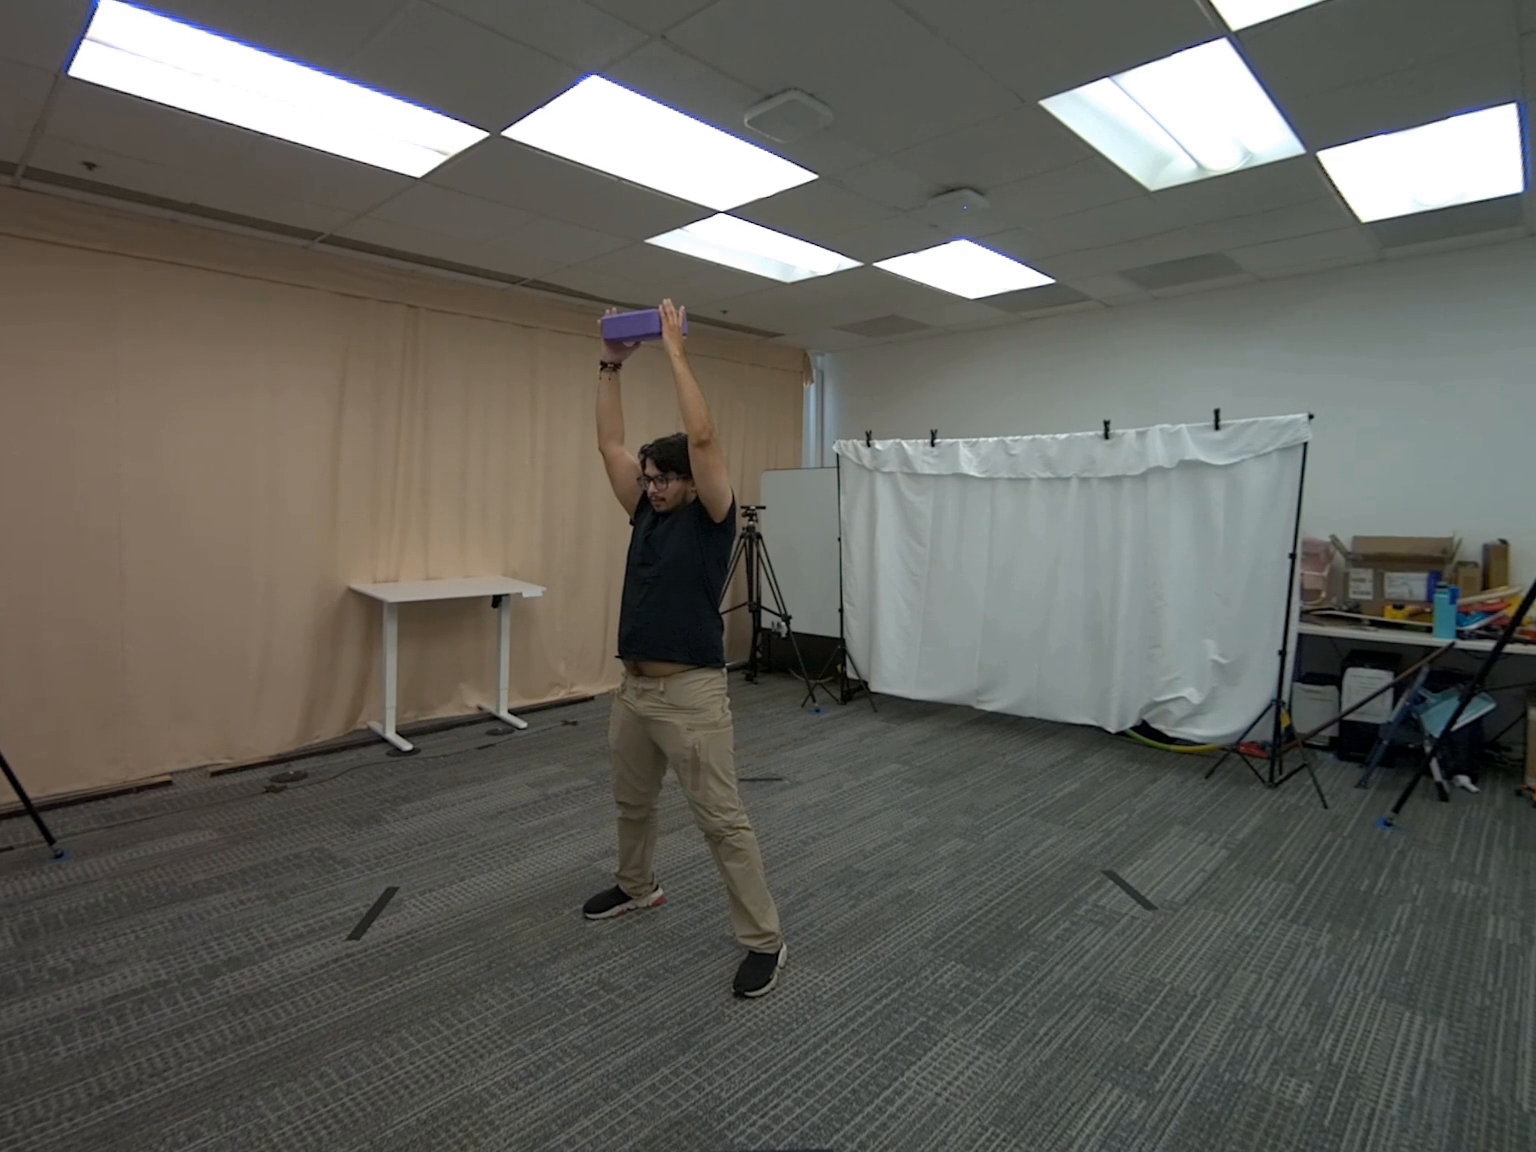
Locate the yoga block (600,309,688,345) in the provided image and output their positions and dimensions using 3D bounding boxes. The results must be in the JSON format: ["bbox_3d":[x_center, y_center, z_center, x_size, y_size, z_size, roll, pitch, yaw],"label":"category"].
[{"bbox_3d":[-0.377,-0.761,2.550,0.237,0.076,0.145,6,16,36],"label":"yoga block"}]
